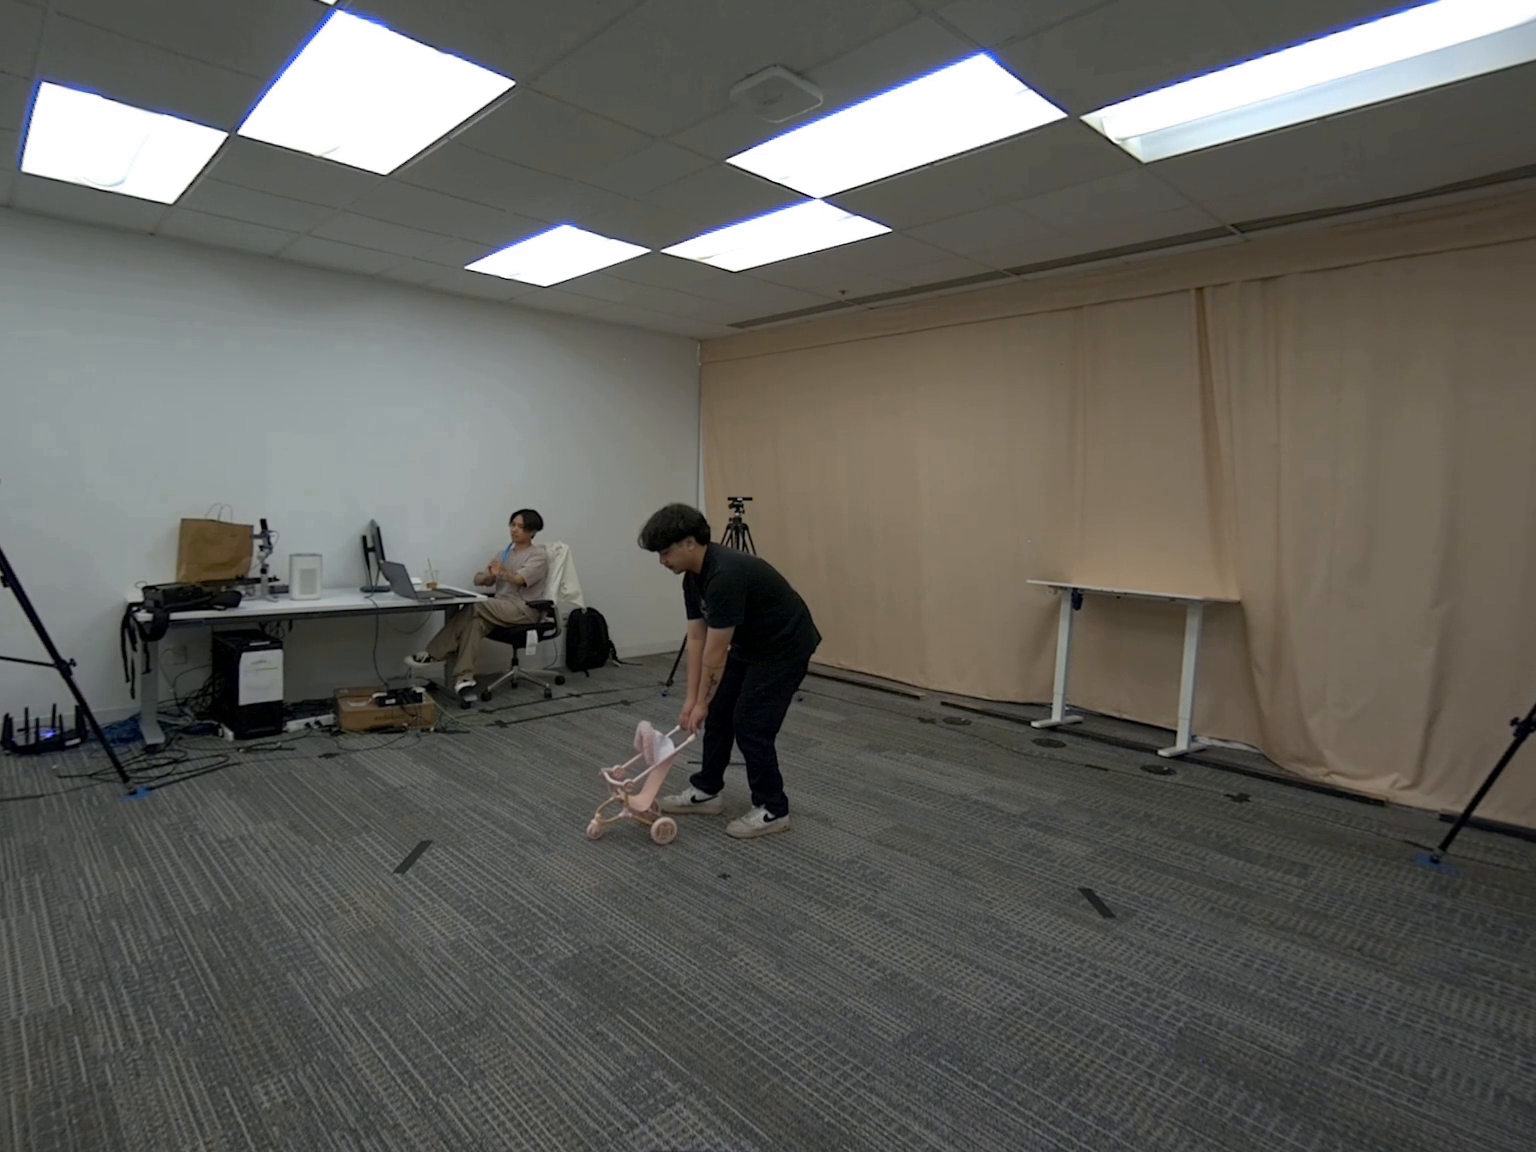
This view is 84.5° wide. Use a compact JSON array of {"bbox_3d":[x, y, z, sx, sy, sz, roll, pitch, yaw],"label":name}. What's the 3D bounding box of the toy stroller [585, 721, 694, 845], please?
[{"bbox_3d":[-0.529,0.839,3.462,0.336,0.535,0.285,16,-1,-17],"label":"toy stroller"}]
